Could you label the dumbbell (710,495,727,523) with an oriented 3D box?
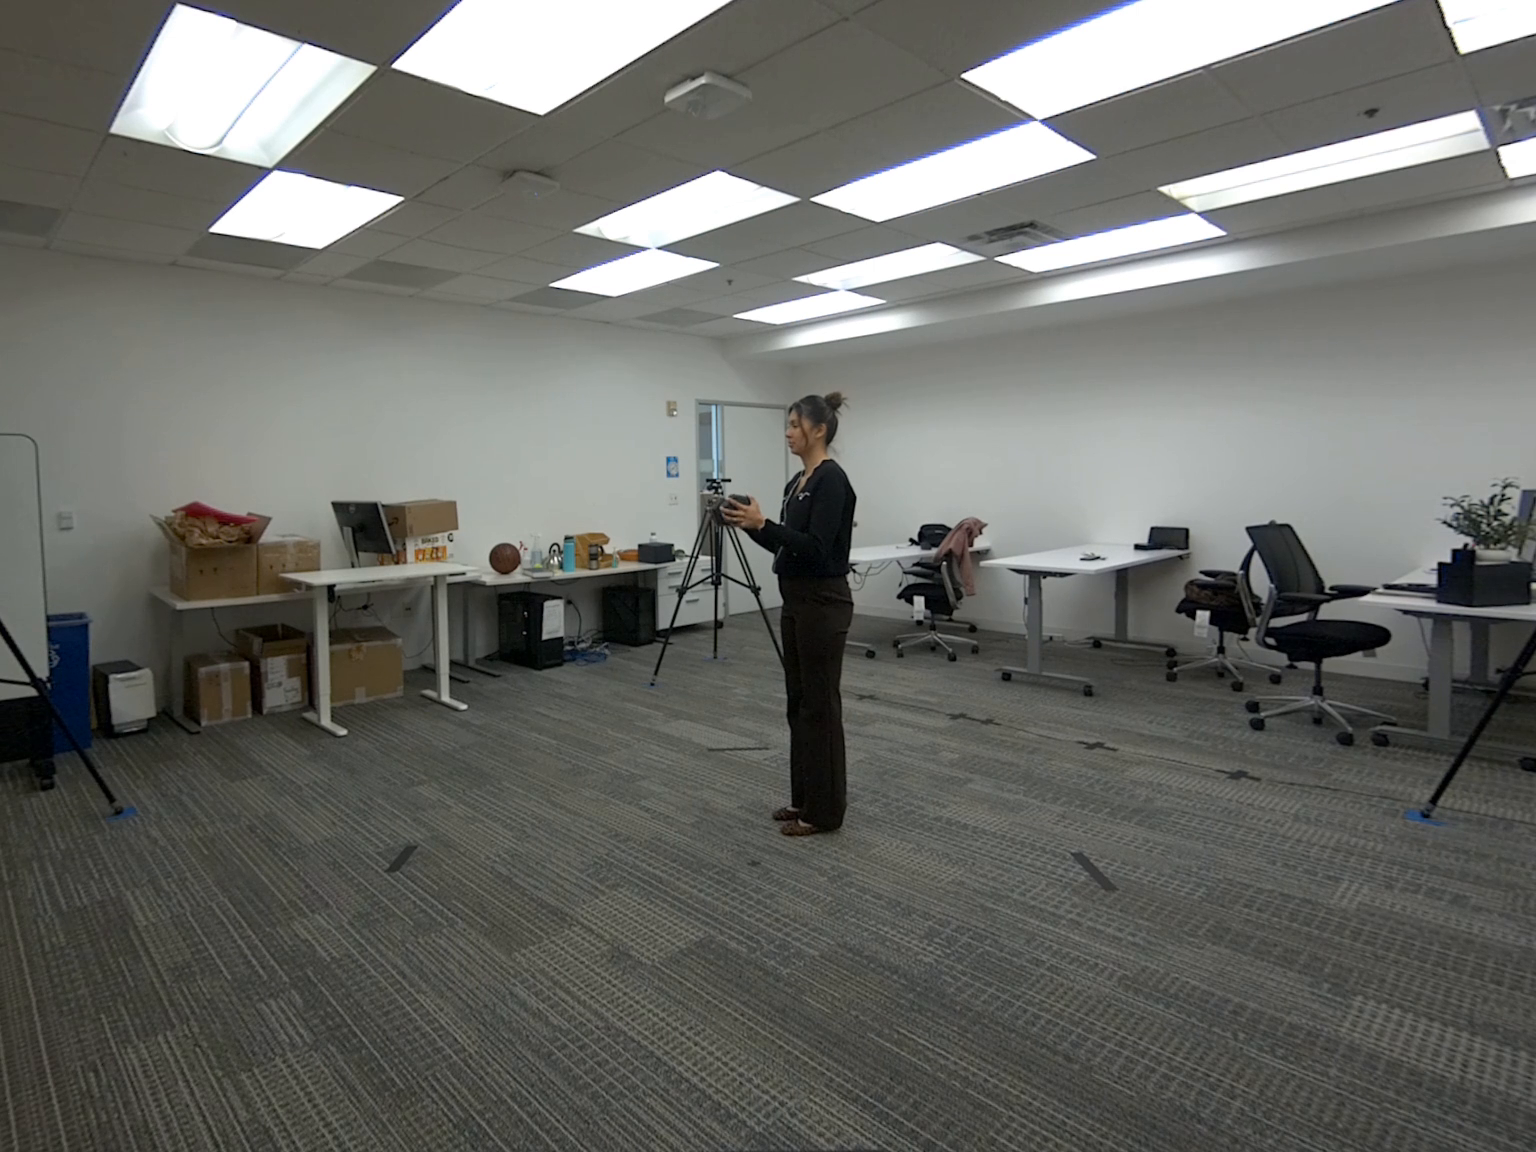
[{"bbox_3d":[-0.117,-0.255,3.353,0.122,0.109,0.295,8,-1,-6],"label":"dumbbell"}]
